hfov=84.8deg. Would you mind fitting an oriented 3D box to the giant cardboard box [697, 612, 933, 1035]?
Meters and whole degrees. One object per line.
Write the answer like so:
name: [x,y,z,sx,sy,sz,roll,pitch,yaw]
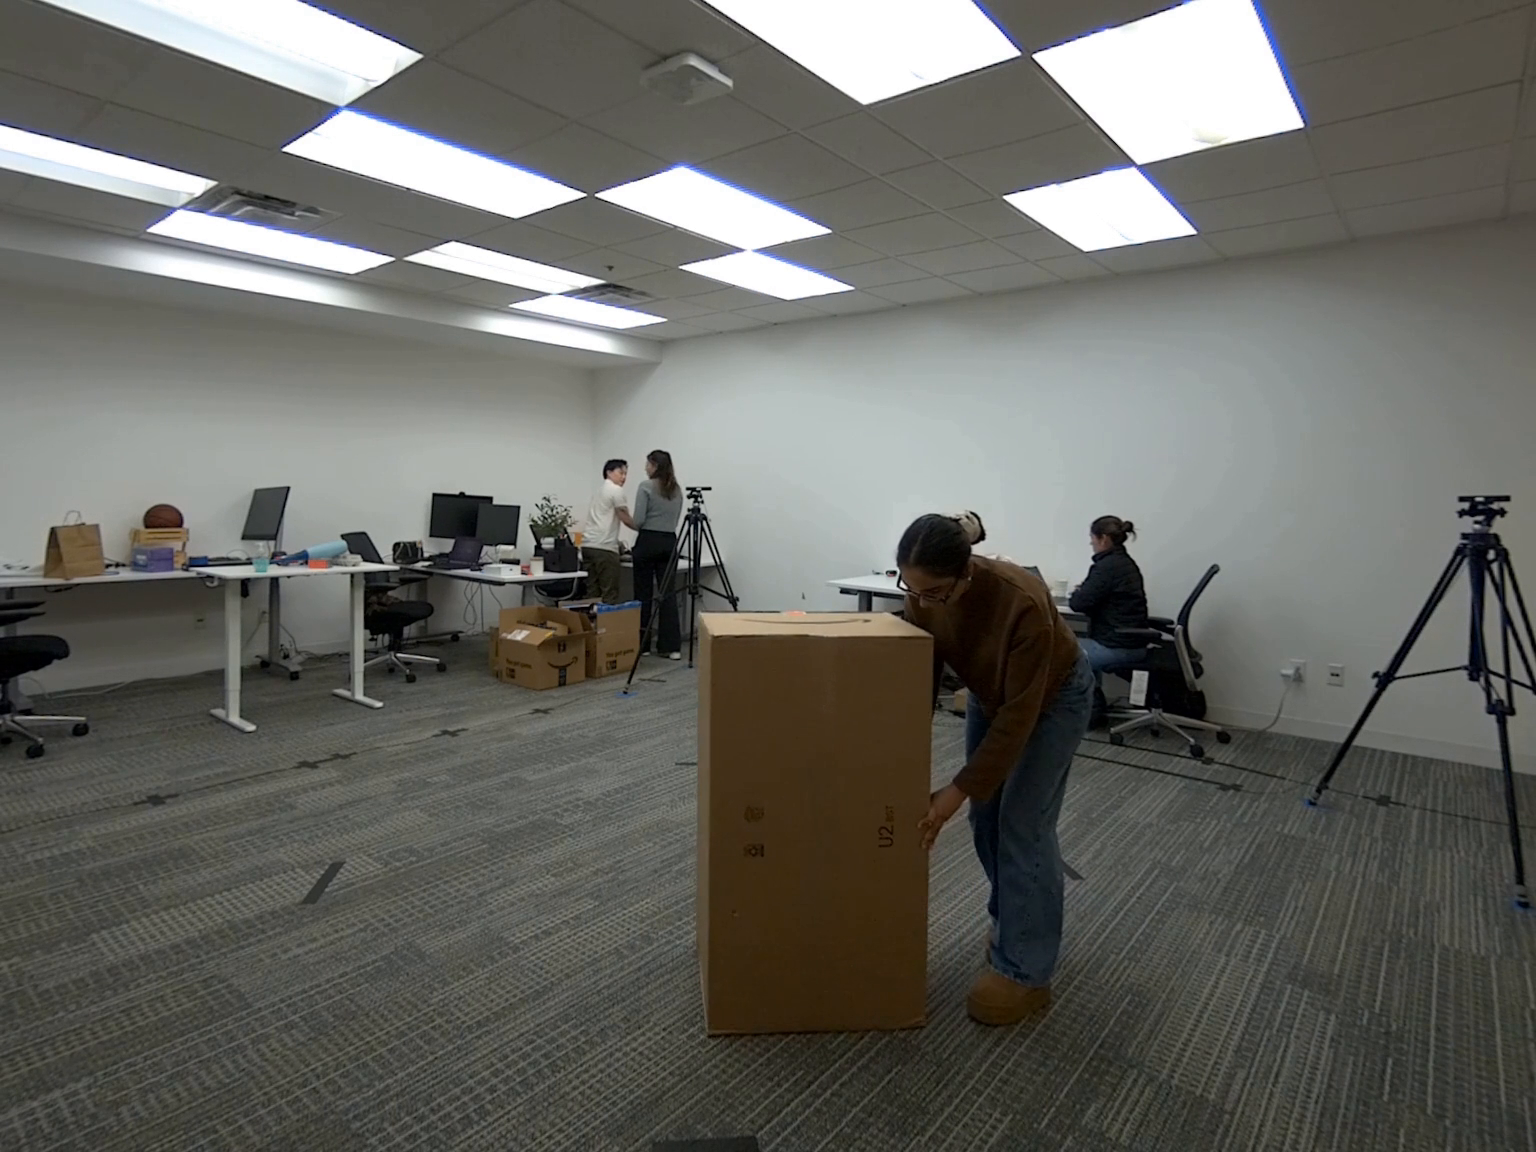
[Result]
giant cardboard box: [0.100,0.635,2.367,0.573,1.023,0.431,0,3,-7]
